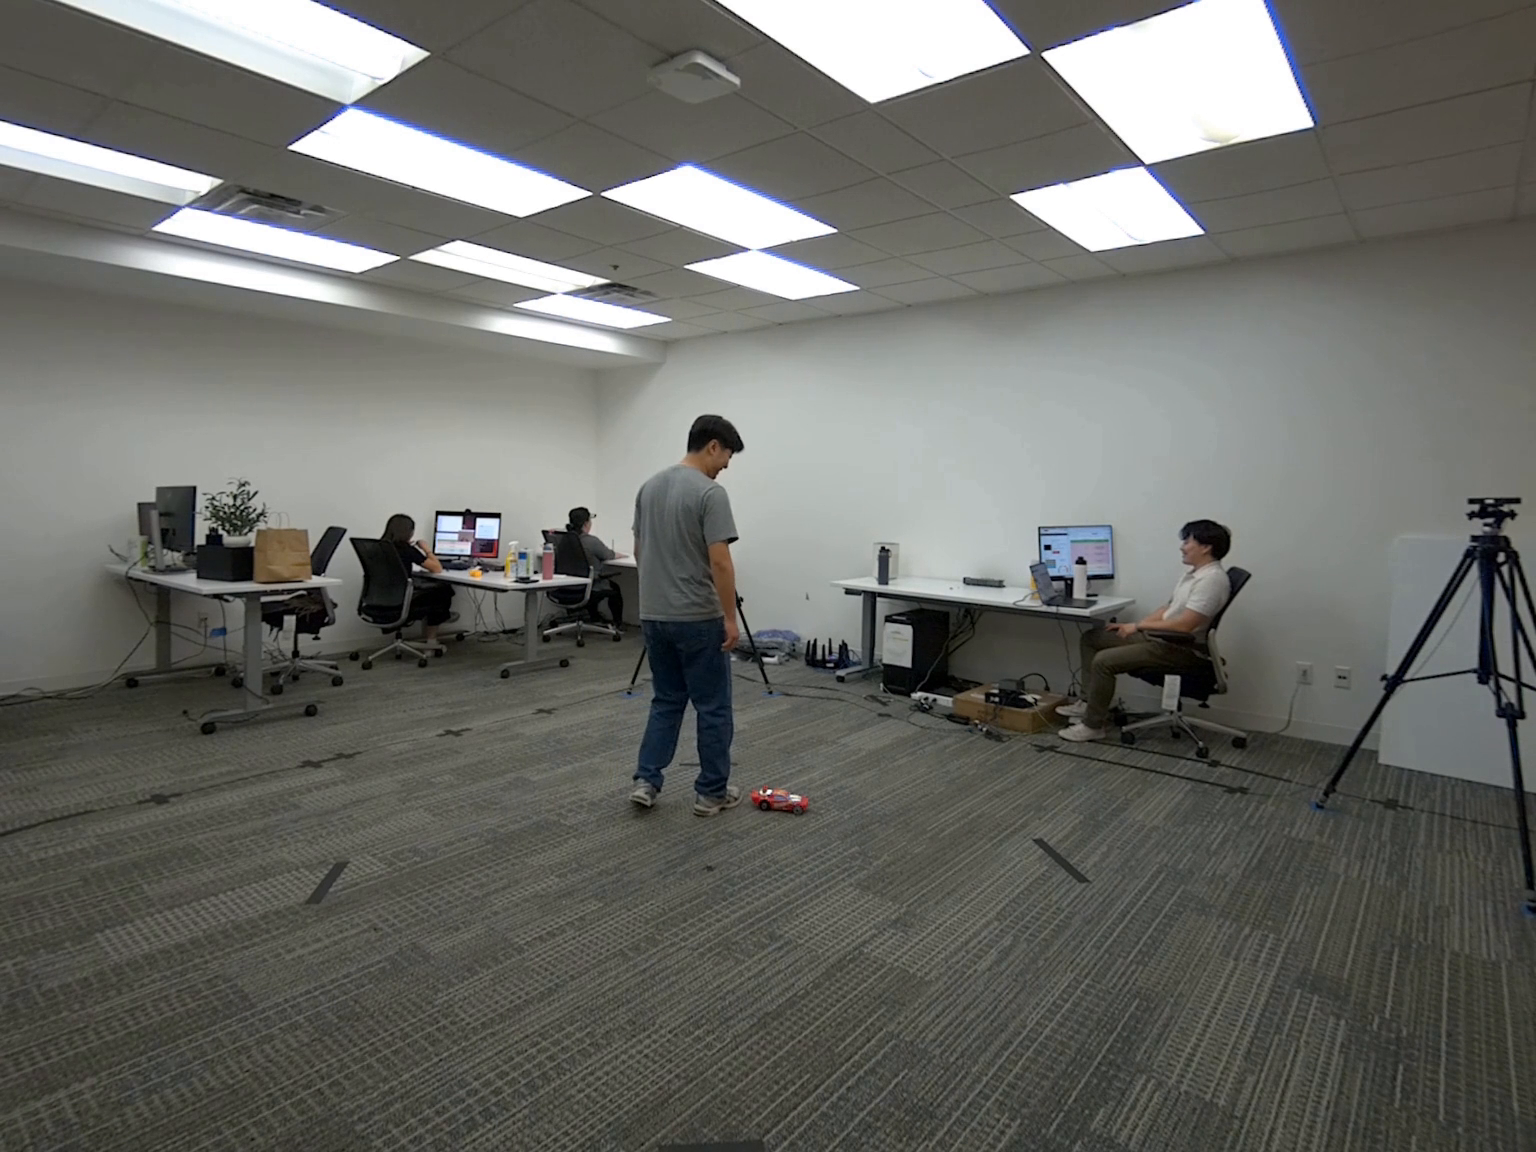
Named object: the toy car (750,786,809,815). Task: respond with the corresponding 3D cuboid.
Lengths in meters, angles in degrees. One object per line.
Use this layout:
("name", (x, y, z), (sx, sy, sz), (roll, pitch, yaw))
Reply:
("toy car", (0.037, 0.982, 3.719), (0.259, 0.083, 0.129), (13, 7, 13))
